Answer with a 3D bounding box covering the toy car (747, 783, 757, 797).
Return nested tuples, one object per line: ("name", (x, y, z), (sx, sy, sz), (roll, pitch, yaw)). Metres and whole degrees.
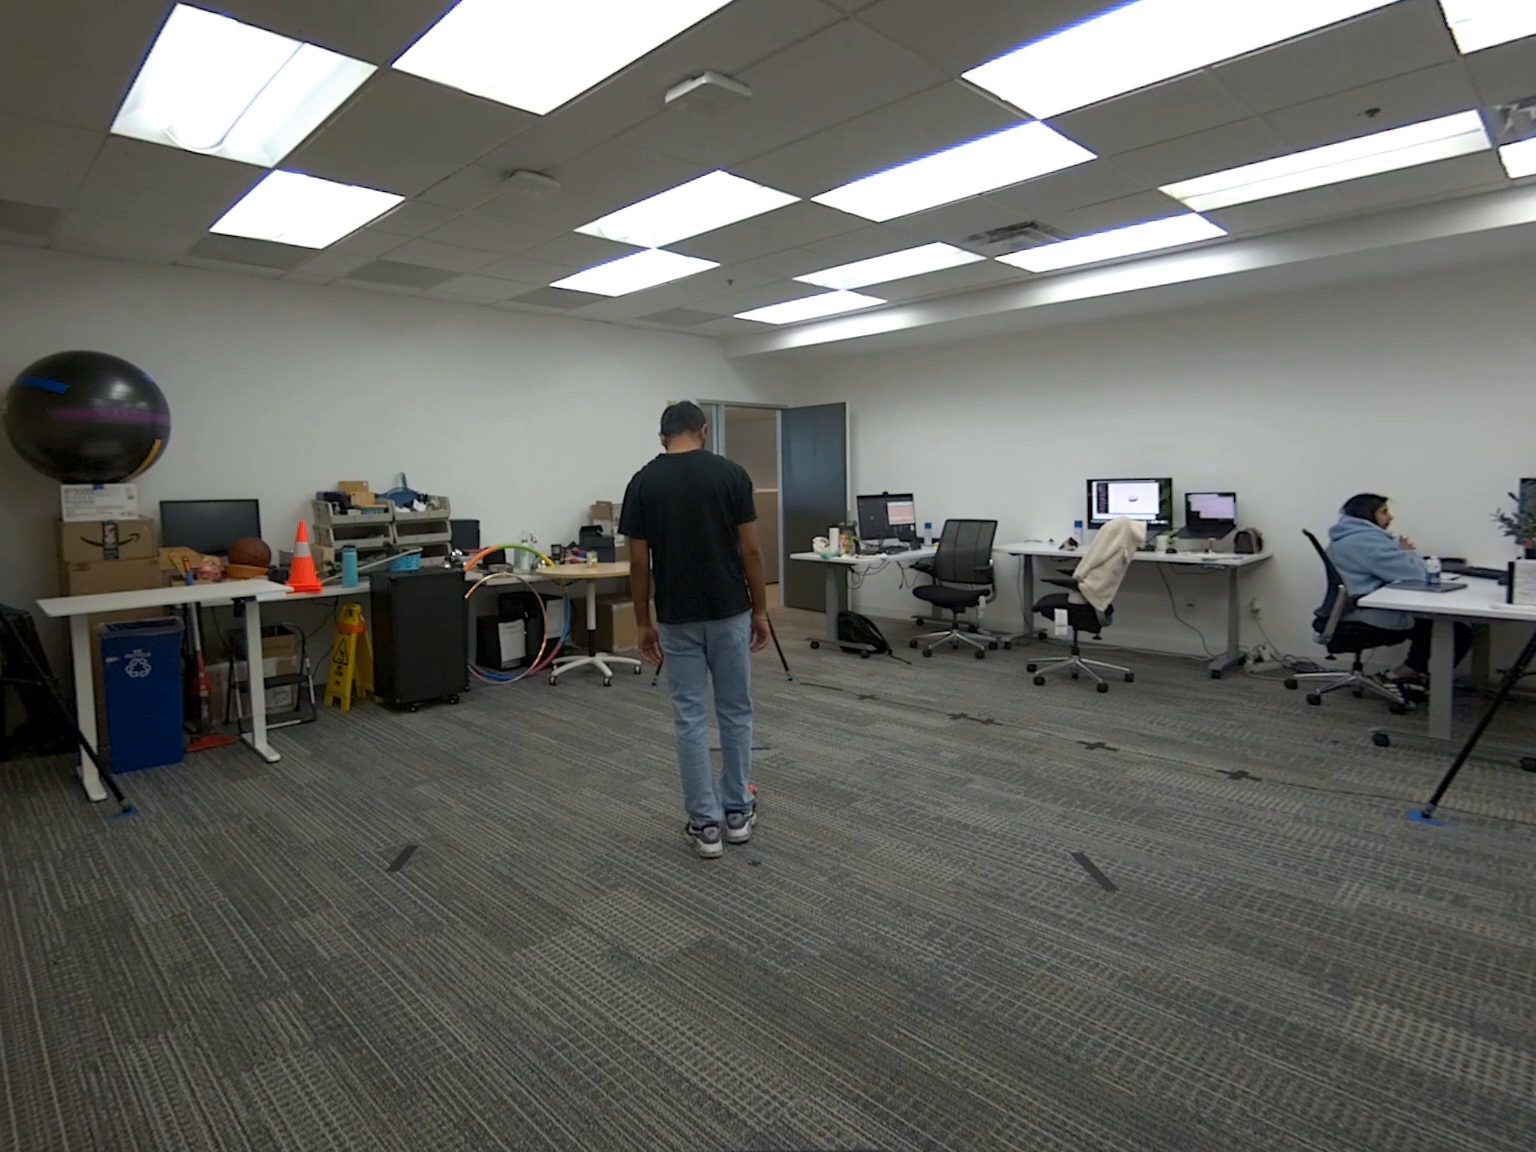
("toy car", (-0.102, 0.949, 3.675), (0.130, 0.084, 0.252), (-1, -6, 1))
